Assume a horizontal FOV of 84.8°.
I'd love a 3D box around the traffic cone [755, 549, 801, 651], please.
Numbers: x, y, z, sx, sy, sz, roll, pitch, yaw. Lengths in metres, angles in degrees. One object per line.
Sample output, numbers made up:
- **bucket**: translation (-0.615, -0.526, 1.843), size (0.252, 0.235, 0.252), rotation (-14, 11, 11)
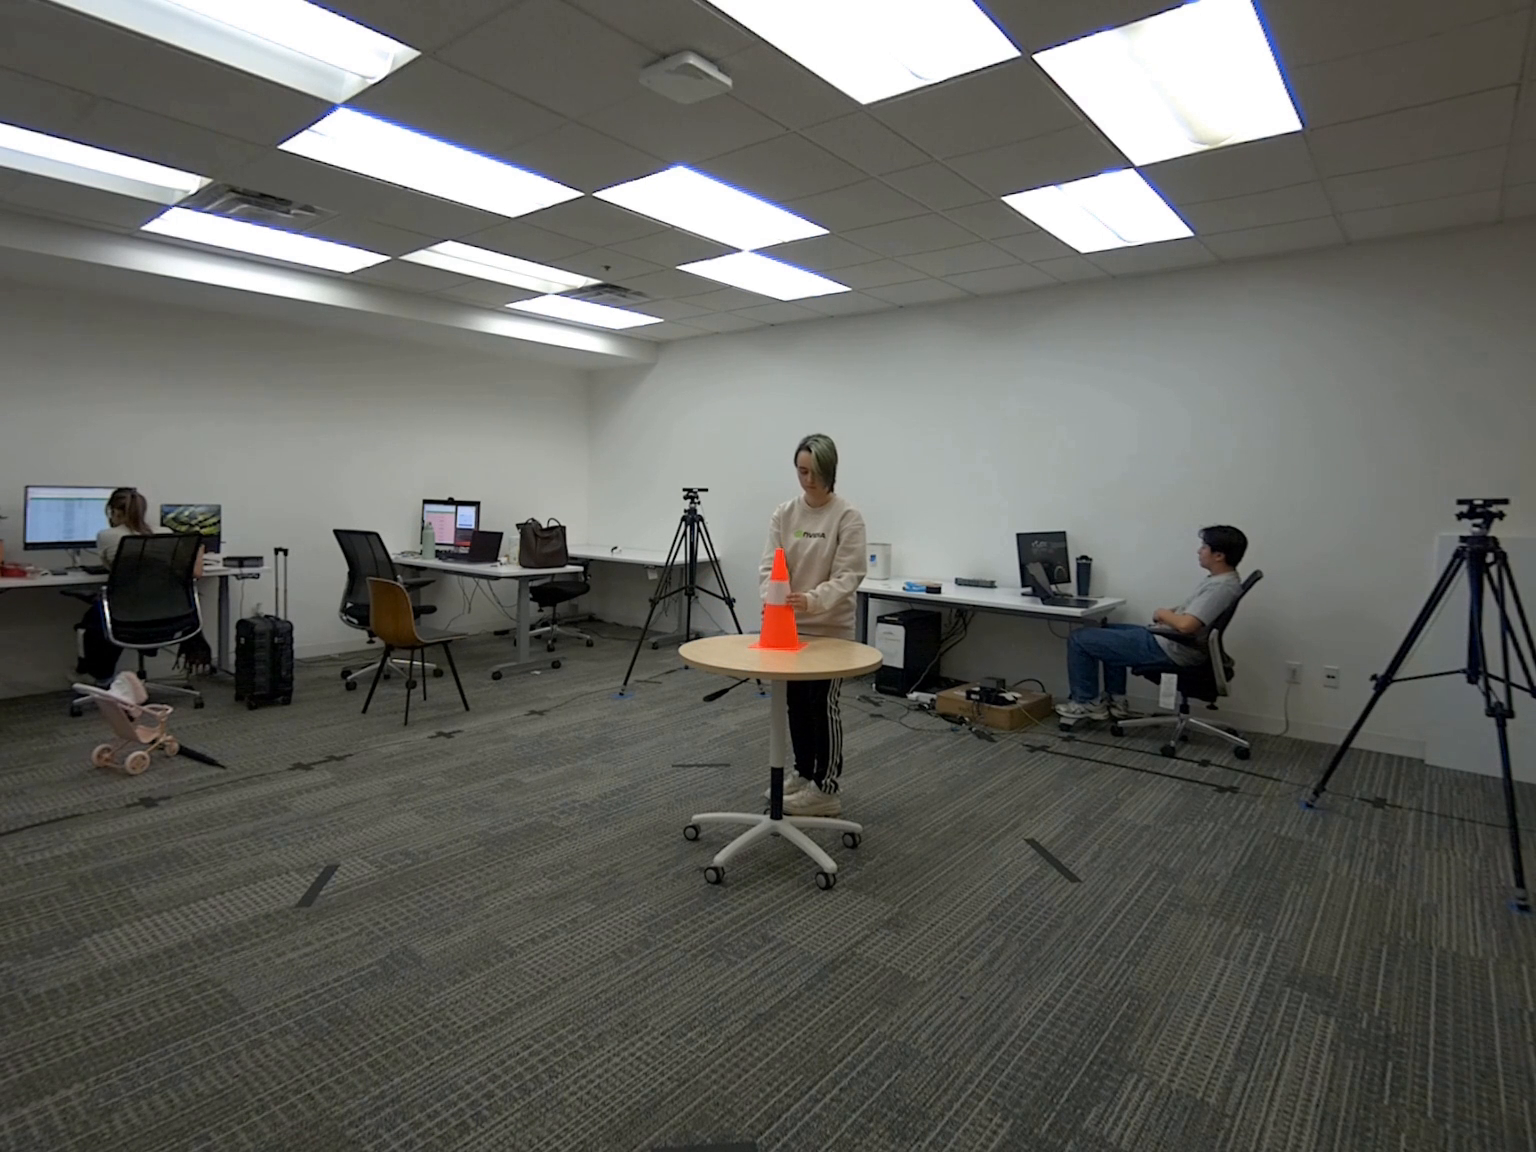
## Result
- **traffic cone**: translation (0.032, 0.082, 3.332), size (0.210, 0.383, 0.198), rotation (1, 1, 25)
